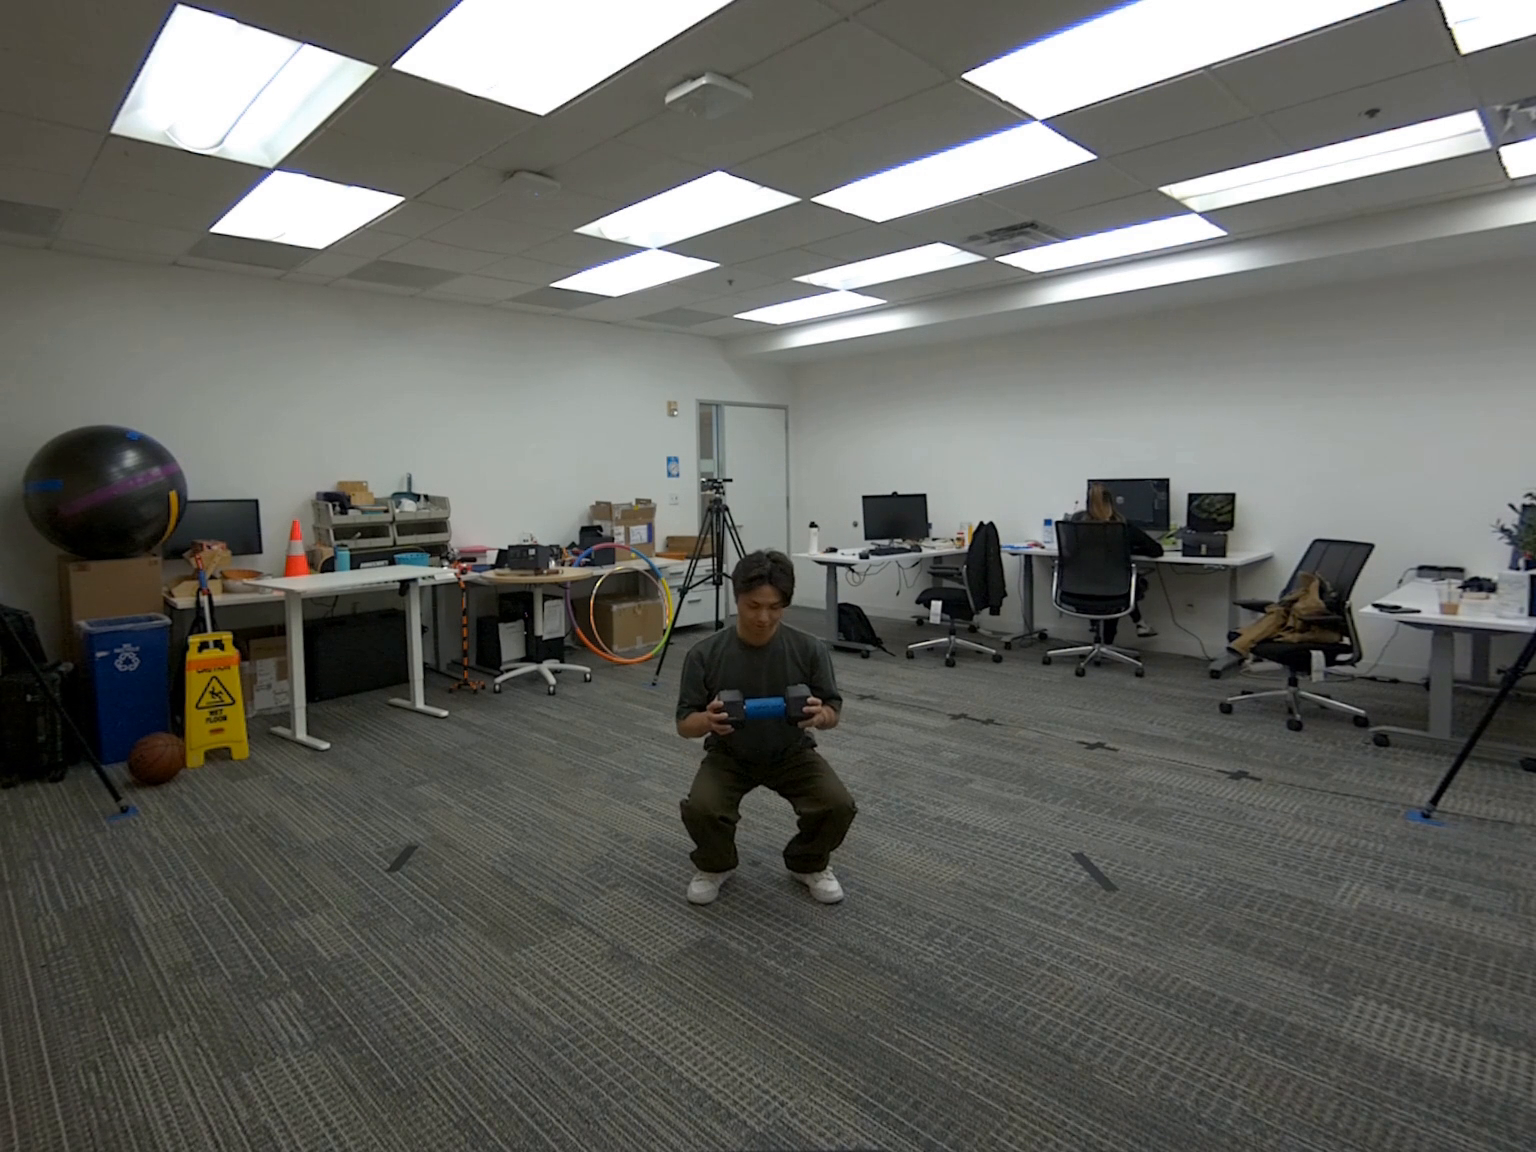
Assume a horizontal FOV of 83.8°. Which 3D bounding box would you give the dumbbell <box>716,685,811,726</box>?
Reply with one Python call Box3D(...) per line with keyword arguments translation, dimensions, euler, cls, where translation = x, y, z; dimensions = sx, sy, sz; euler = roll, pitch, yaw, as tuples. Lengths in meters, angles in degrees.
Box3D(translation=(-0.027, 0.412, 2.676), dimensions=(0.293, 0.112, 0.119), euler=(-5, -39, 0), cls="dumbbell")
